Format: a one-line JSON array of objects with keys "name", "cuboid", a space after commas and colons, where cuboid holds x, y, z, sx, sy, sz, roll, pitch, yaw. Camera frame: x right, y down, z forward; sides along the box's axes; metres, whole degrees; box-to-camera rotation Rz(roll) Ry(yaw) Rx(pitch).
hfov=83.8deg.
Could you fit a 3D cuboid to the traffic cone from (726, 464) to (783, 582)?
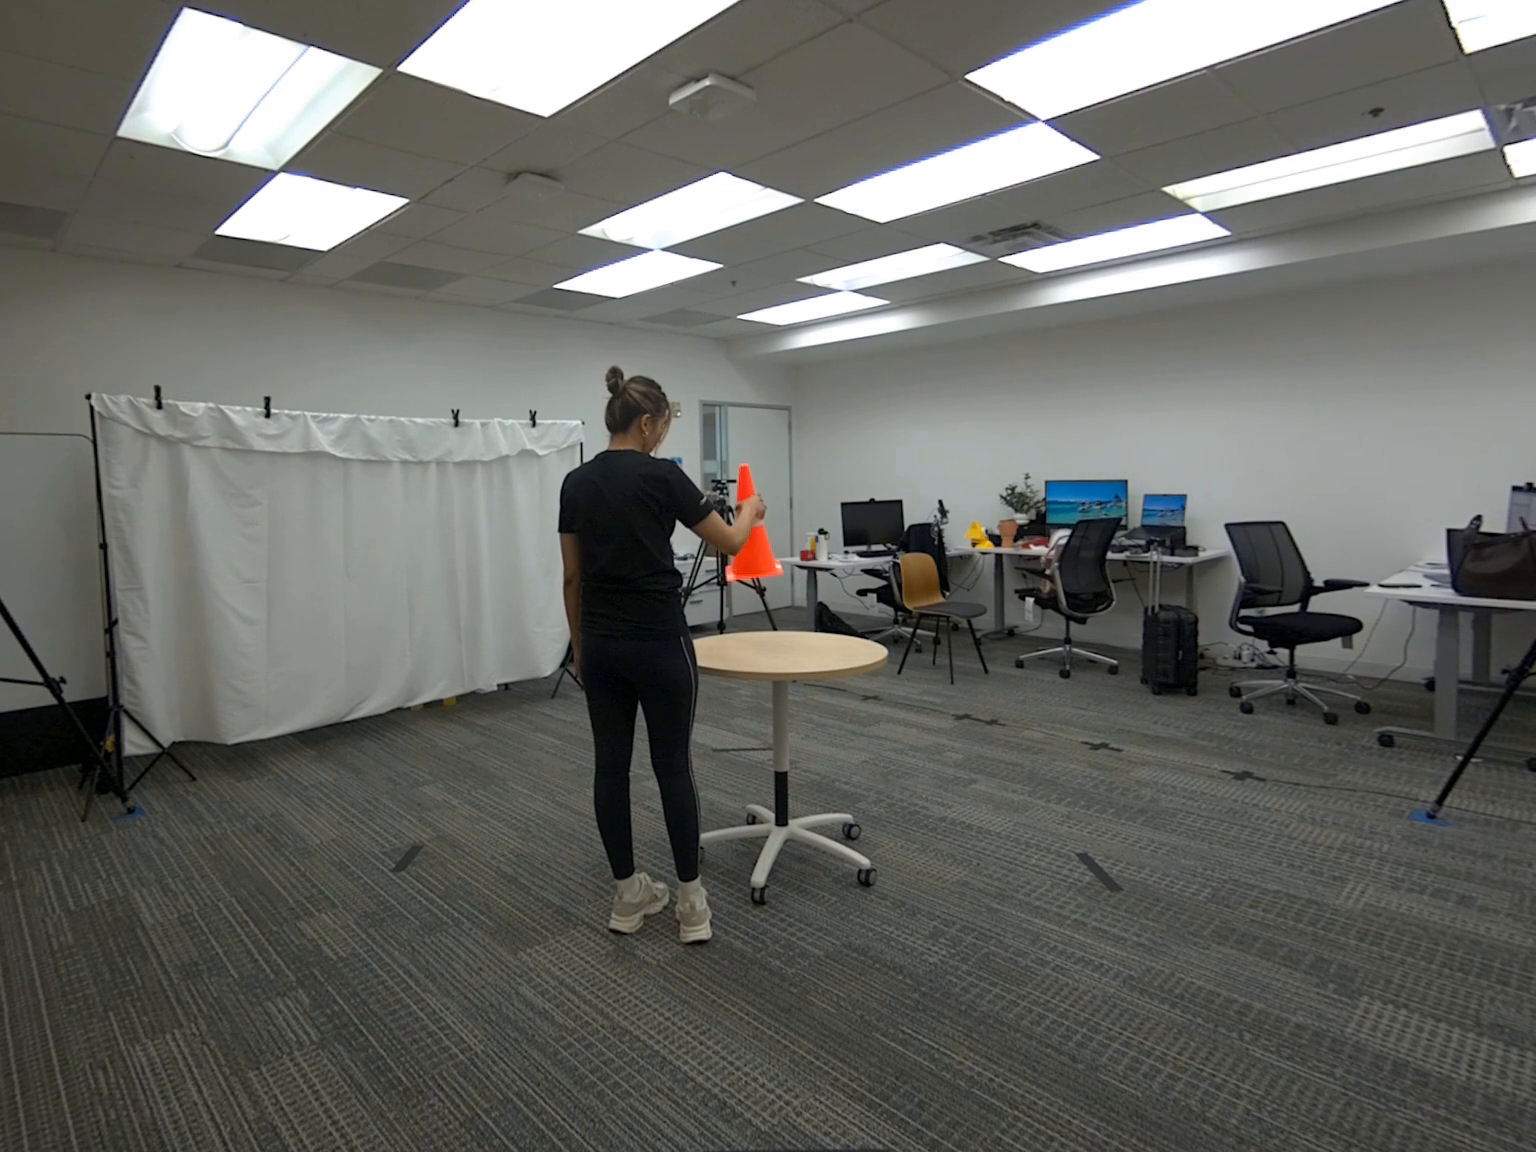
[{"name": "traffic cone", "cuboid": [-0.066, -0.202, 2.996, 0.201, 0.378, 0.210, -8, 14, -13]}]
